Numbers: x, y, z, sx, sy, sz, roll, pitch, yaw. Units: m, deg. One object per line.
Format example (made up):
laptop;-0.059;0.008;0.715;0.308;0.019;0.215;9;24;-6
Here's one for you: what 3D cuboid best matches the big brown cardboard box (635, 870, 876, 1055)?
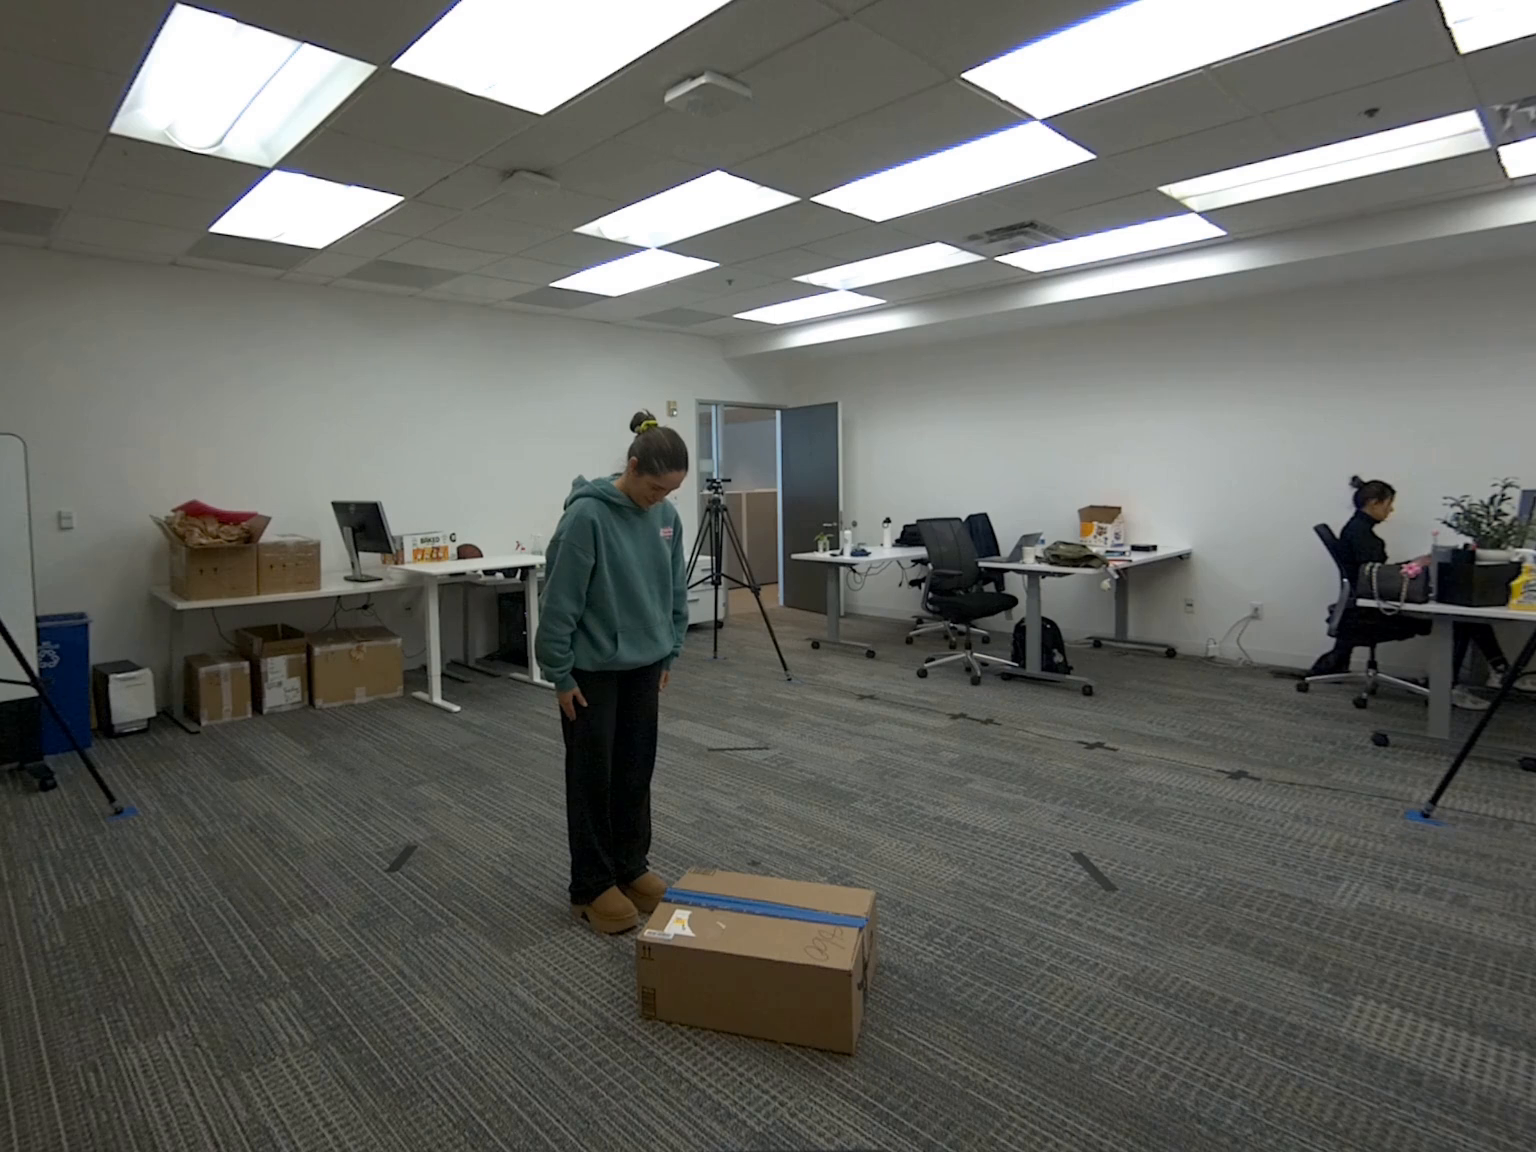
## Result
big brown cardboard box;-0.016;1.019;2.336;0.599;0.232;0.413;1;6;16
